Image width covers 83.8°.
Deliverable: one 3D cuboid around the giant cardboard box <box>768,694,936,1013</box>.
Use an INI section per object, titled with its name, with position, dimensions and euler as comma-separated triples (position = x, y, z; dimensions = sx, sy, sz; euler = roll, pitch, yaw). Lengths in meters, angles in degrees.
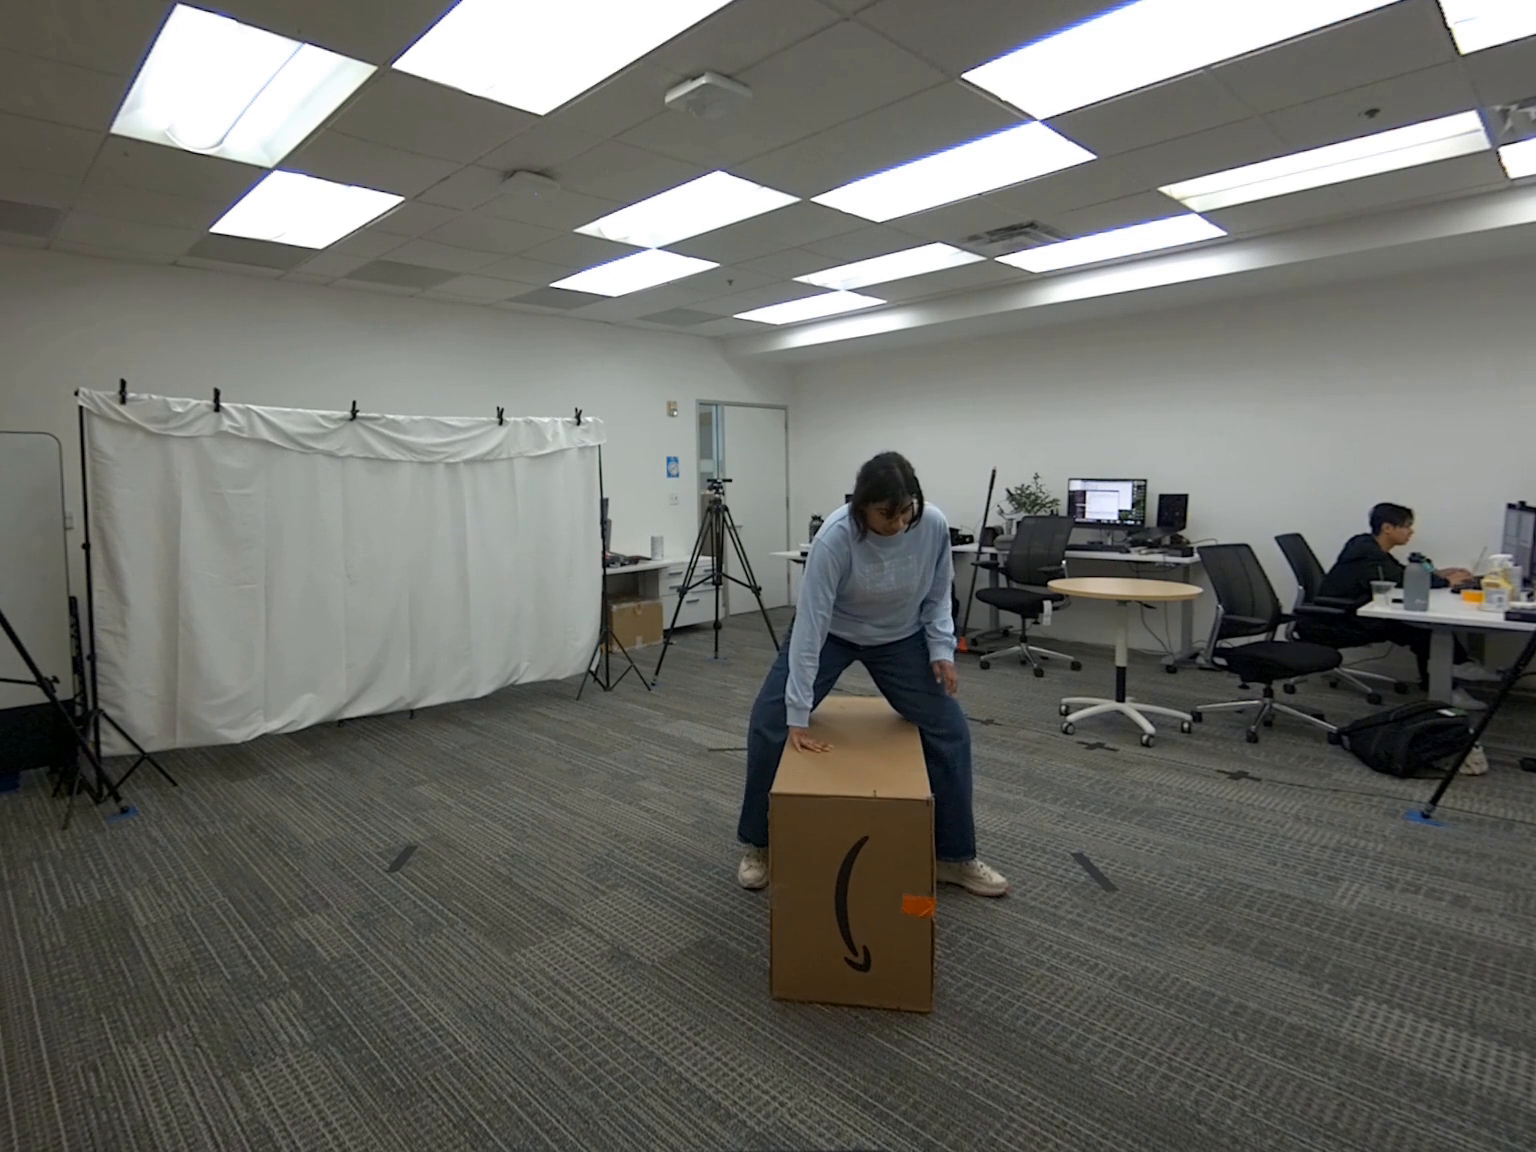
[giant cardboard box]
position = 0.282, 0.796, 2.732
dimensions = 0.430, 0.575, 1.022
euler = 0, 6, 7
